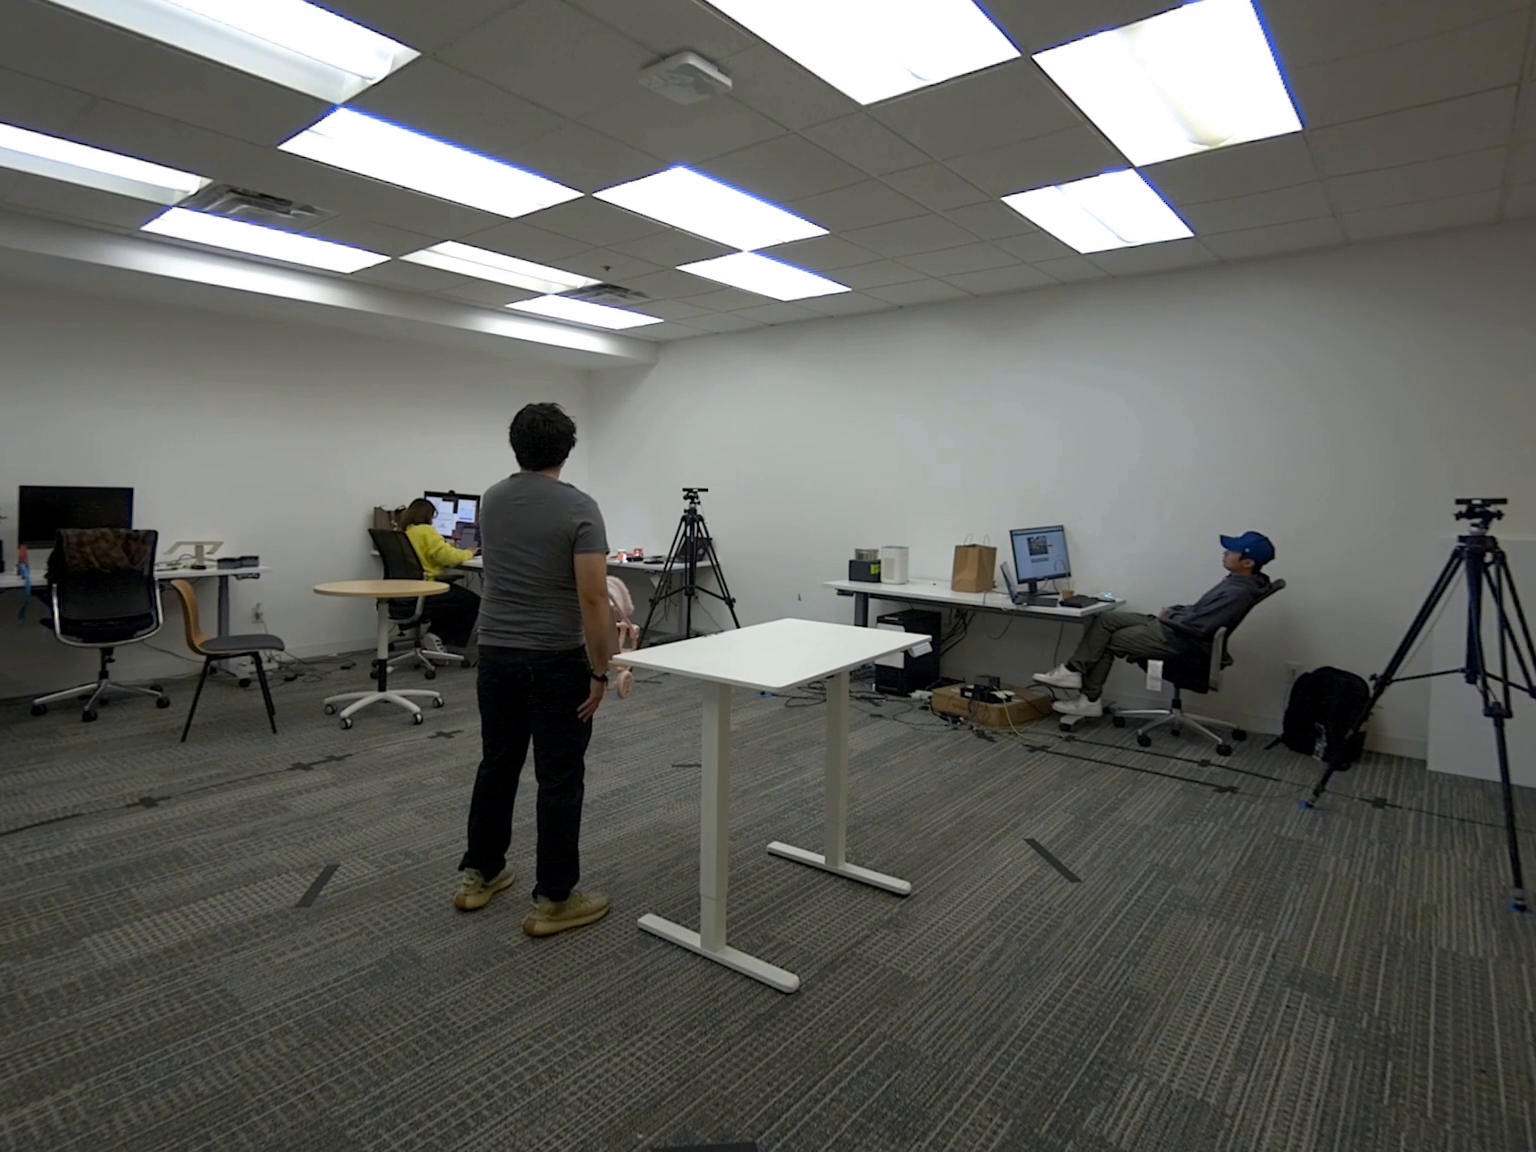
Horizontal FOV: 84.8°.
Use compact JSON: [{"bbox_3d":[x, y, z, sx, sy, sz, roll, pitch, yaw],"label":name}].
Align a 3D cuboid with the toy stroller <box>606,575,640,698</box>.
[{"bbox_3d":[-0.663,0.241,3.454,0.288,0.527,0.338,5,16,20],"label":"toy stroller"}]
